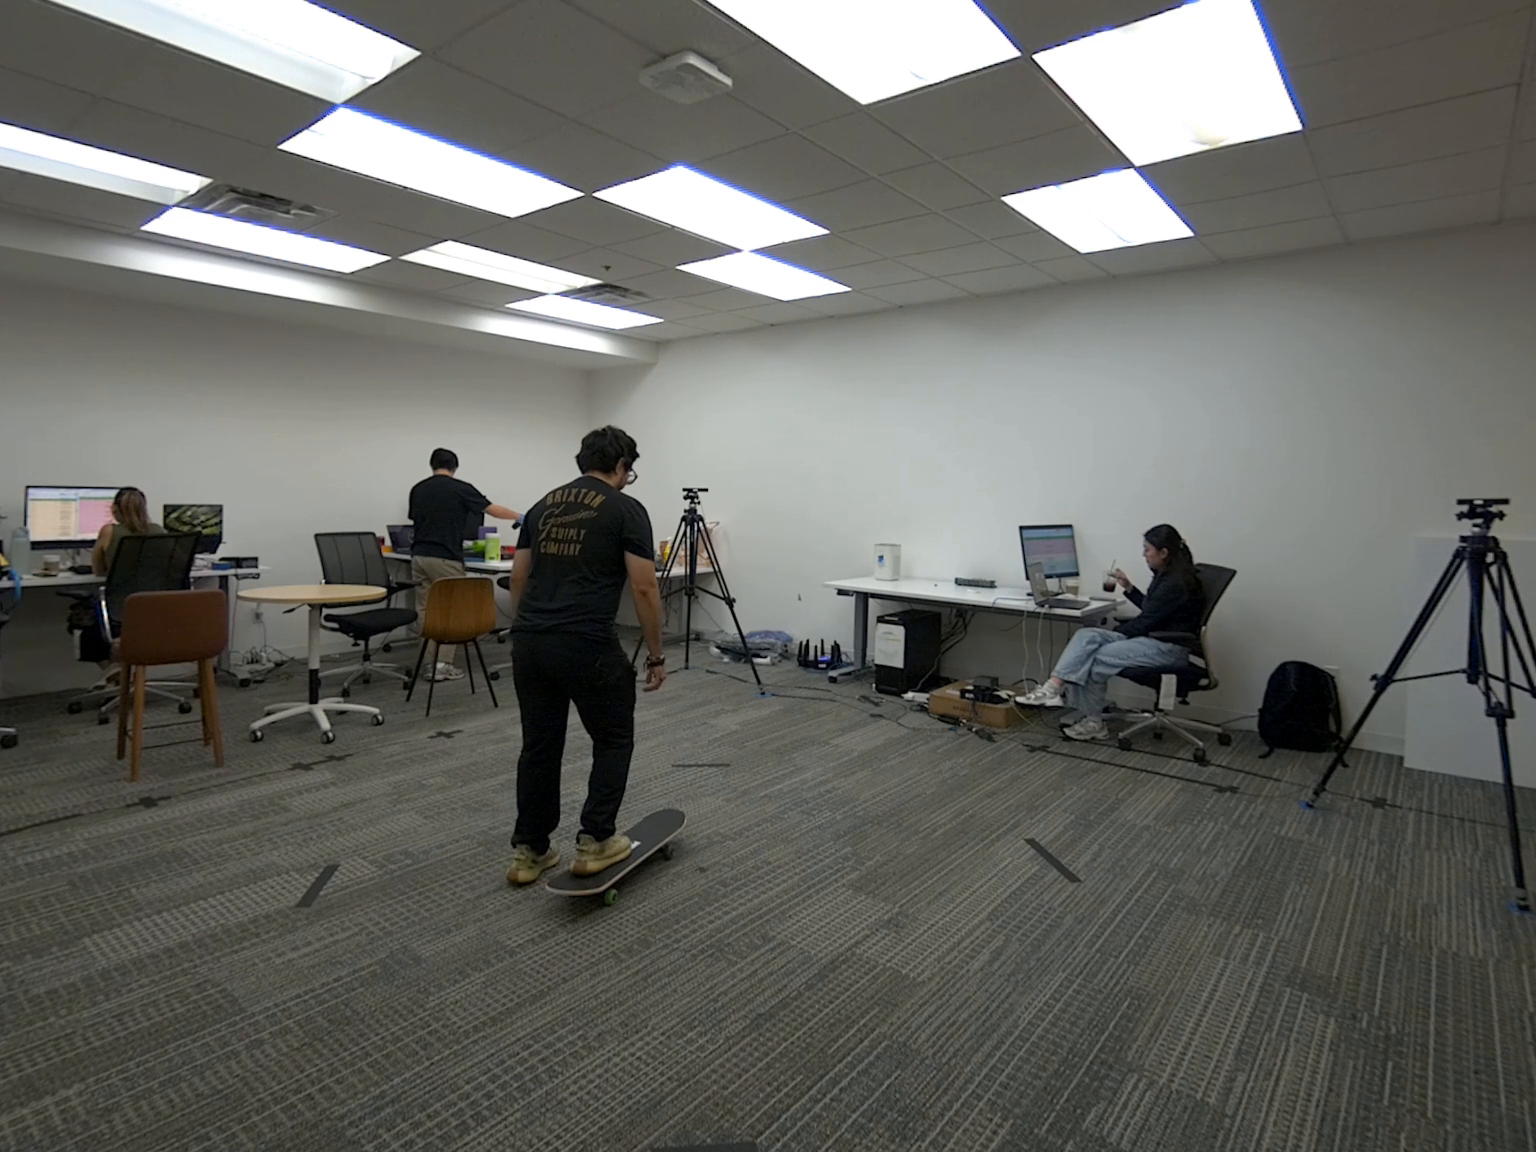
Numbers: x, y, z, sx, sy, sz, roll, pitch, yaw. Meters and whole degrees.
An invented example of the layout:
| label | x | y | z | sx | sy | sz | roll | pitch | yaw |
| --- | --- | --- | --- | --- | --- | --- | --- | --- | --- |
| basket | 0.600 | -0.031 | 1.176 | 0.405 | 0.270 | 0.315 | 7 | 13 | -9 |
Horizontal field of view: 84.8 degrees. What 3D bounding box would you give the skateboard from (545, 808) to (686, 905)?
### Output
| label | x | y | z | sx | sy | sz | roll | pitch | yaw |
| --- | --- | --- | --- | --- | --- | --- | --- | --- | --- |
| skateboard | -0.537 | 1.018 | 3.048 | 0.198 | 0.110 | 0.769 | -1 | 4 | 23 |
